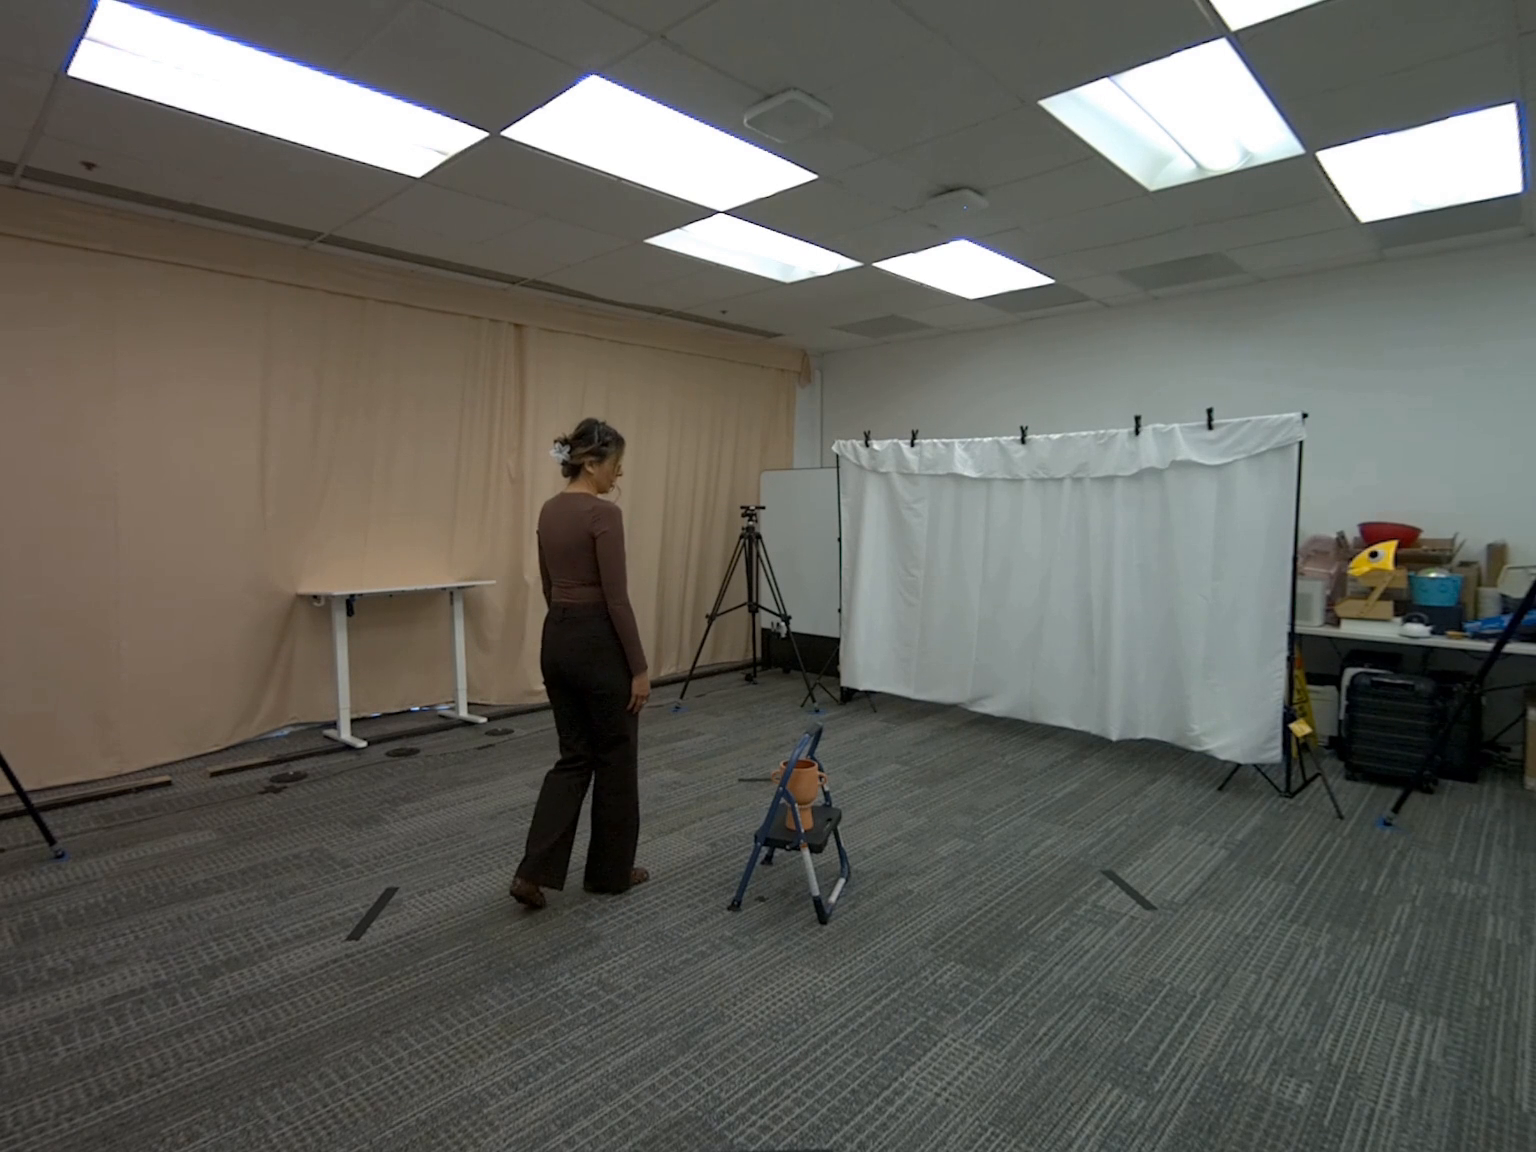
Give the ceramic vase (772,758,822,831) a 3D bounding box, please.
[{"bbox_3d":[0.113,0.777,2.964,0.130,0.219,0.164,-3,4,-40],"label":"ceramic vase"}]
